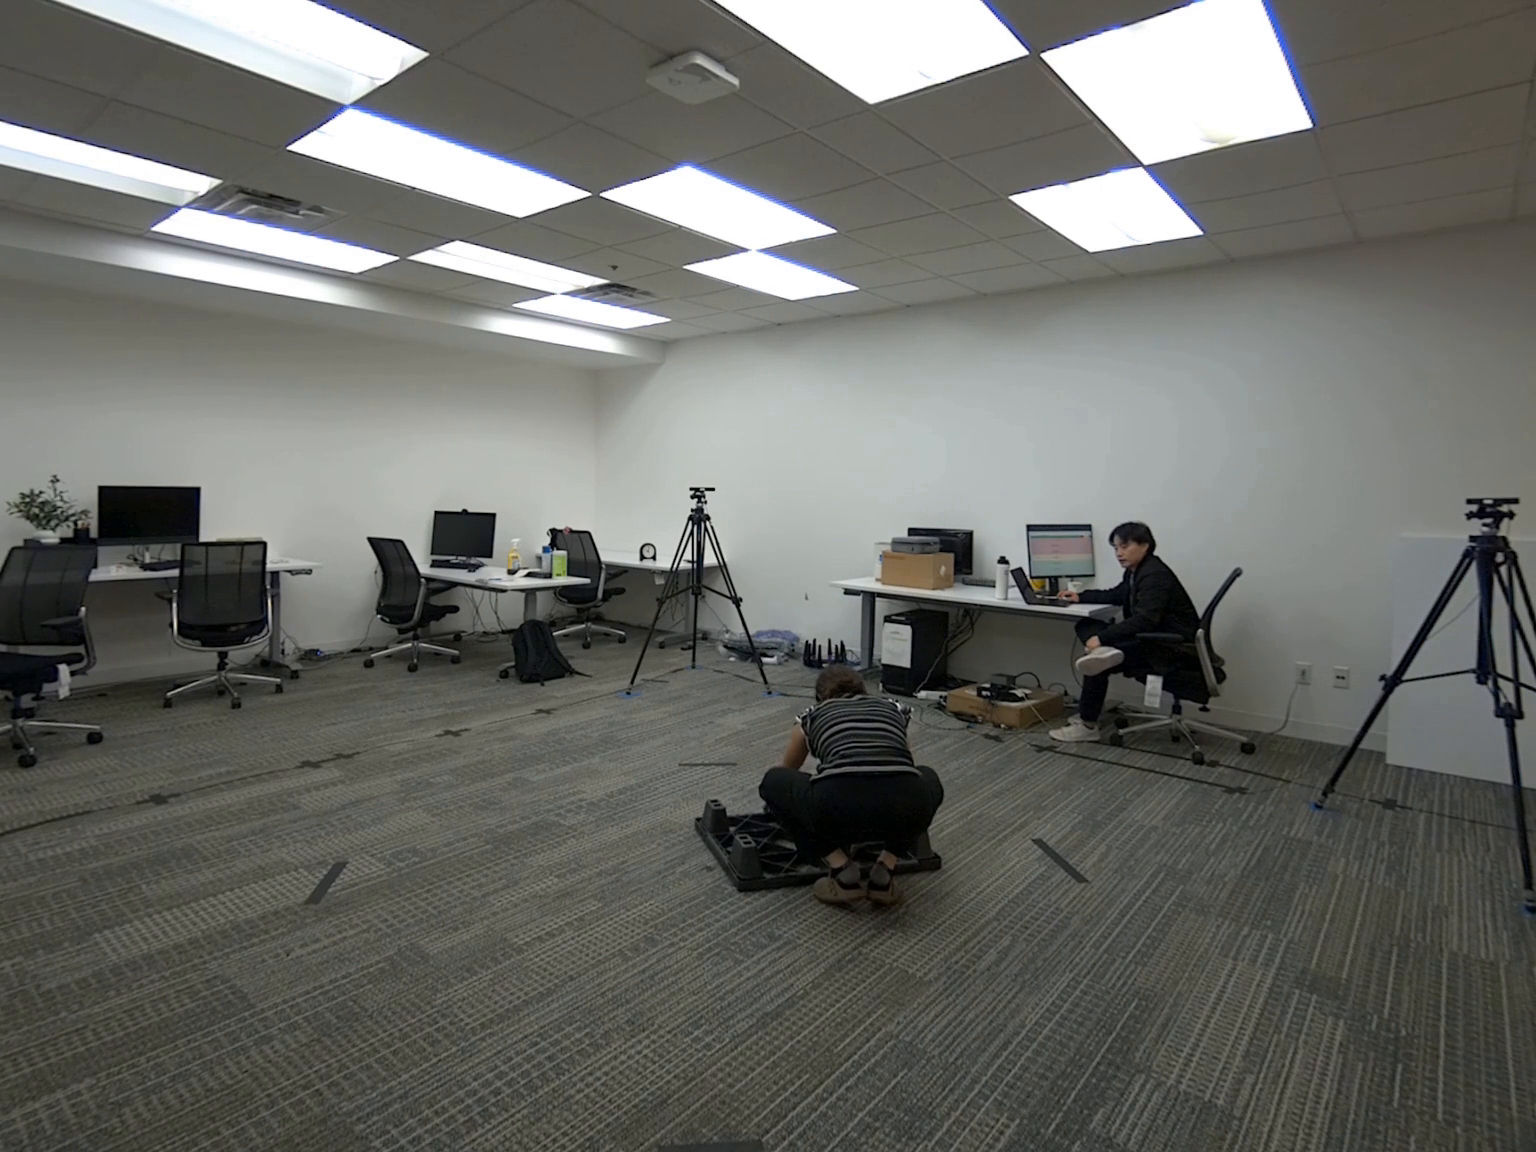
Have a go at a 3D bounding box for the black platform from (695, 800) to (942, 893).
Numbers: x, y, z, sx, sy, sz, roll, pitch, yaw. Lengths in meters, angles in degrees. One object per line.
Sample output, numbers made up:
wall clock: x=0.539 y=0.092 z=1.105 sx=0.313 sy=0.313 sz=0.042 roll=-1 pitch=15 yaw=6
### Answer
black platform: x=0.164 y=0.983 z=3.321 sx=0.791 sy=0.143 sz=0.619 roll=-1 pitch=6 yaw=-19
